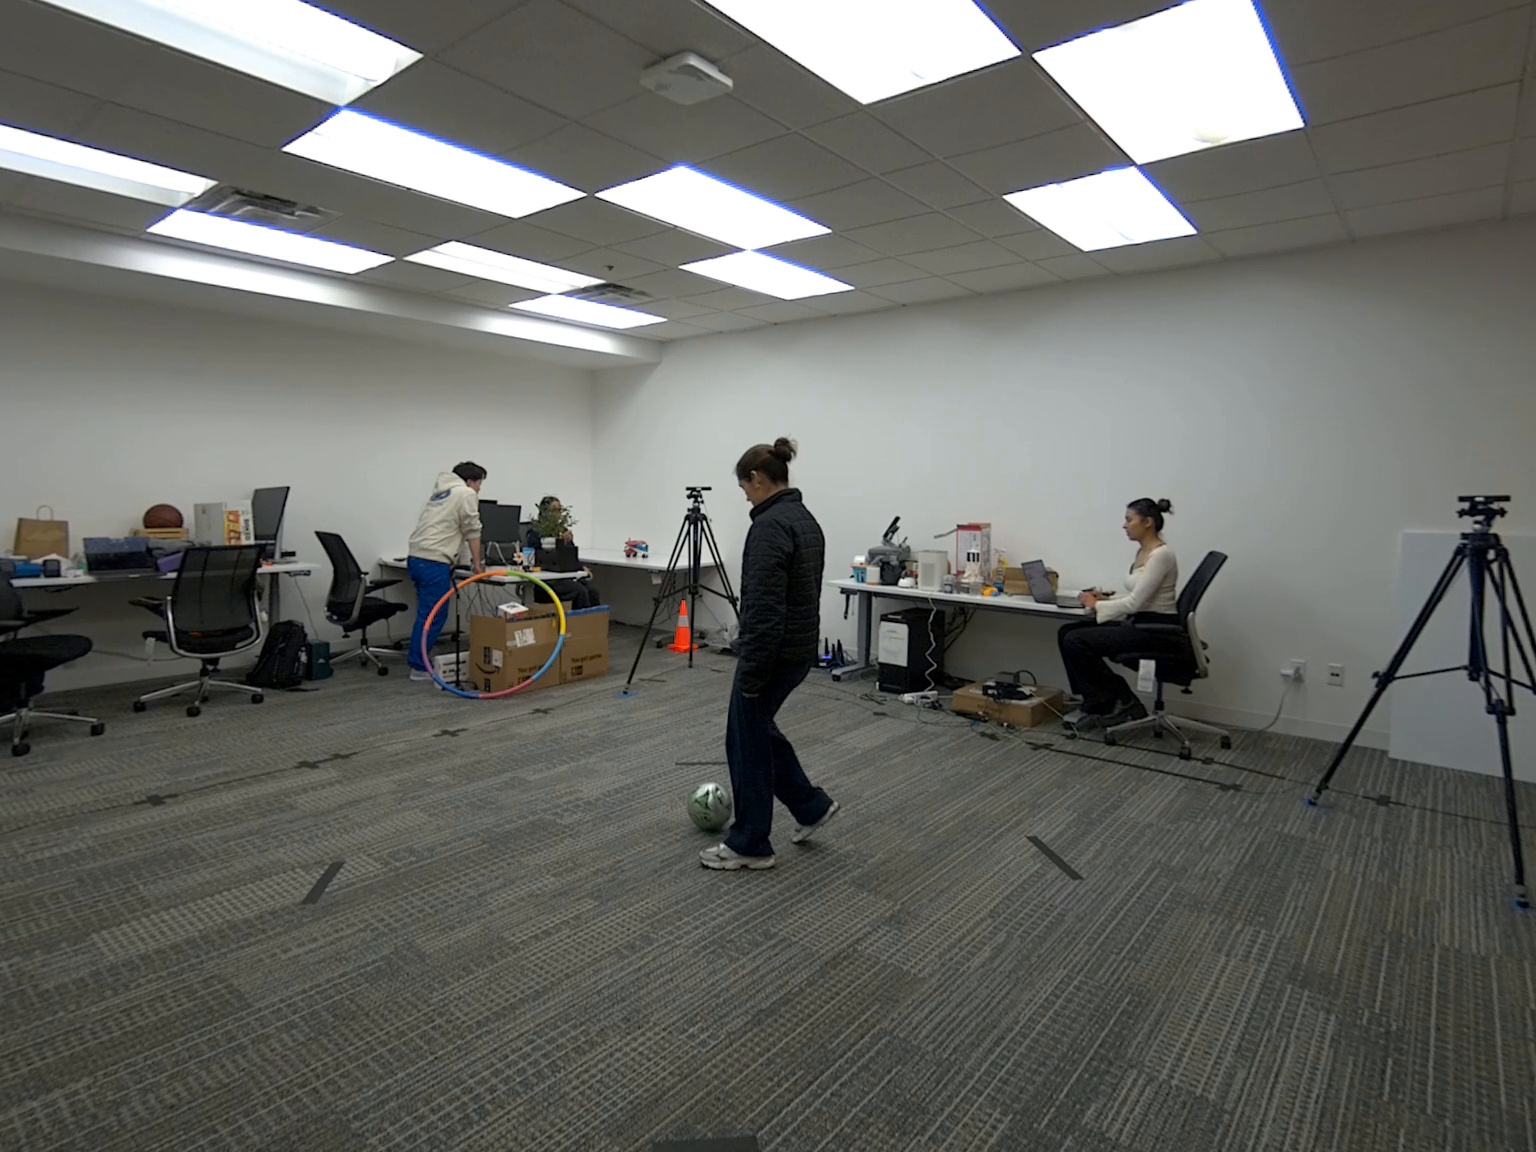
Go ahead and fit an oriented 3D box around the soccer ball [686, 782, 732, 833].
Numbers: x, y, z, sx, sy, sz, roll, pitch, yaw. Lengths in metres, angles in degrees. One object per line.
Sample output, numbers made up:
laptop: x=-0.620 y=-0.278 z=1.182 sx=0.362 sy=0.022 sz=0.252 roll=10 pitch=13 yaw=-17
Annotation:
soccer ball: x=-0.244 y=0.934 z=3.470 sx=0.187 sy=0.187 sz=0.188 roll=1 pitch=4 yaw=-2
